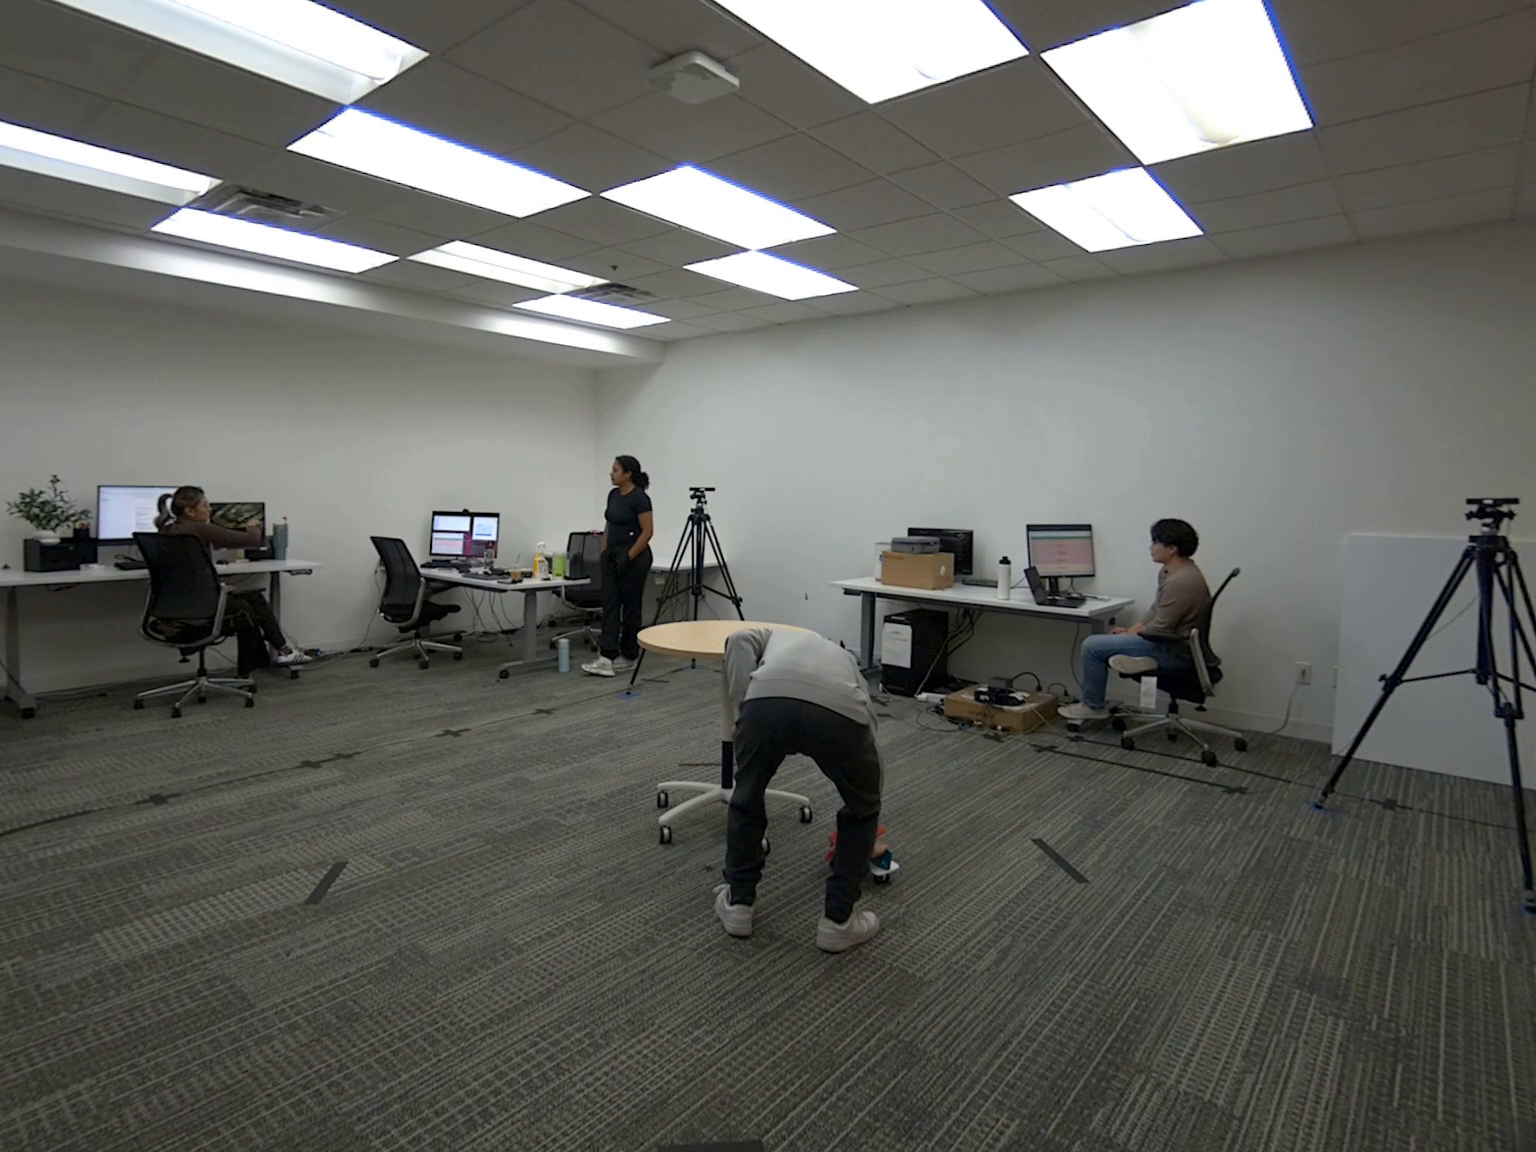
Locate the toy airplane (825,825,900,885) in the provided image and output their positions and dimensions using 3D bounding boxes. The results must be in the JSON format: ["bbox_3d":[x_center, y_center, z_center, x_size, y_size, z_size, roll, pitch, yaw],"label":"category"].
[{"bbox_3d":[0.351,1.004,3.111,0.266,0.156,0.245,3,4,24],"label":"toy airplane"}]
